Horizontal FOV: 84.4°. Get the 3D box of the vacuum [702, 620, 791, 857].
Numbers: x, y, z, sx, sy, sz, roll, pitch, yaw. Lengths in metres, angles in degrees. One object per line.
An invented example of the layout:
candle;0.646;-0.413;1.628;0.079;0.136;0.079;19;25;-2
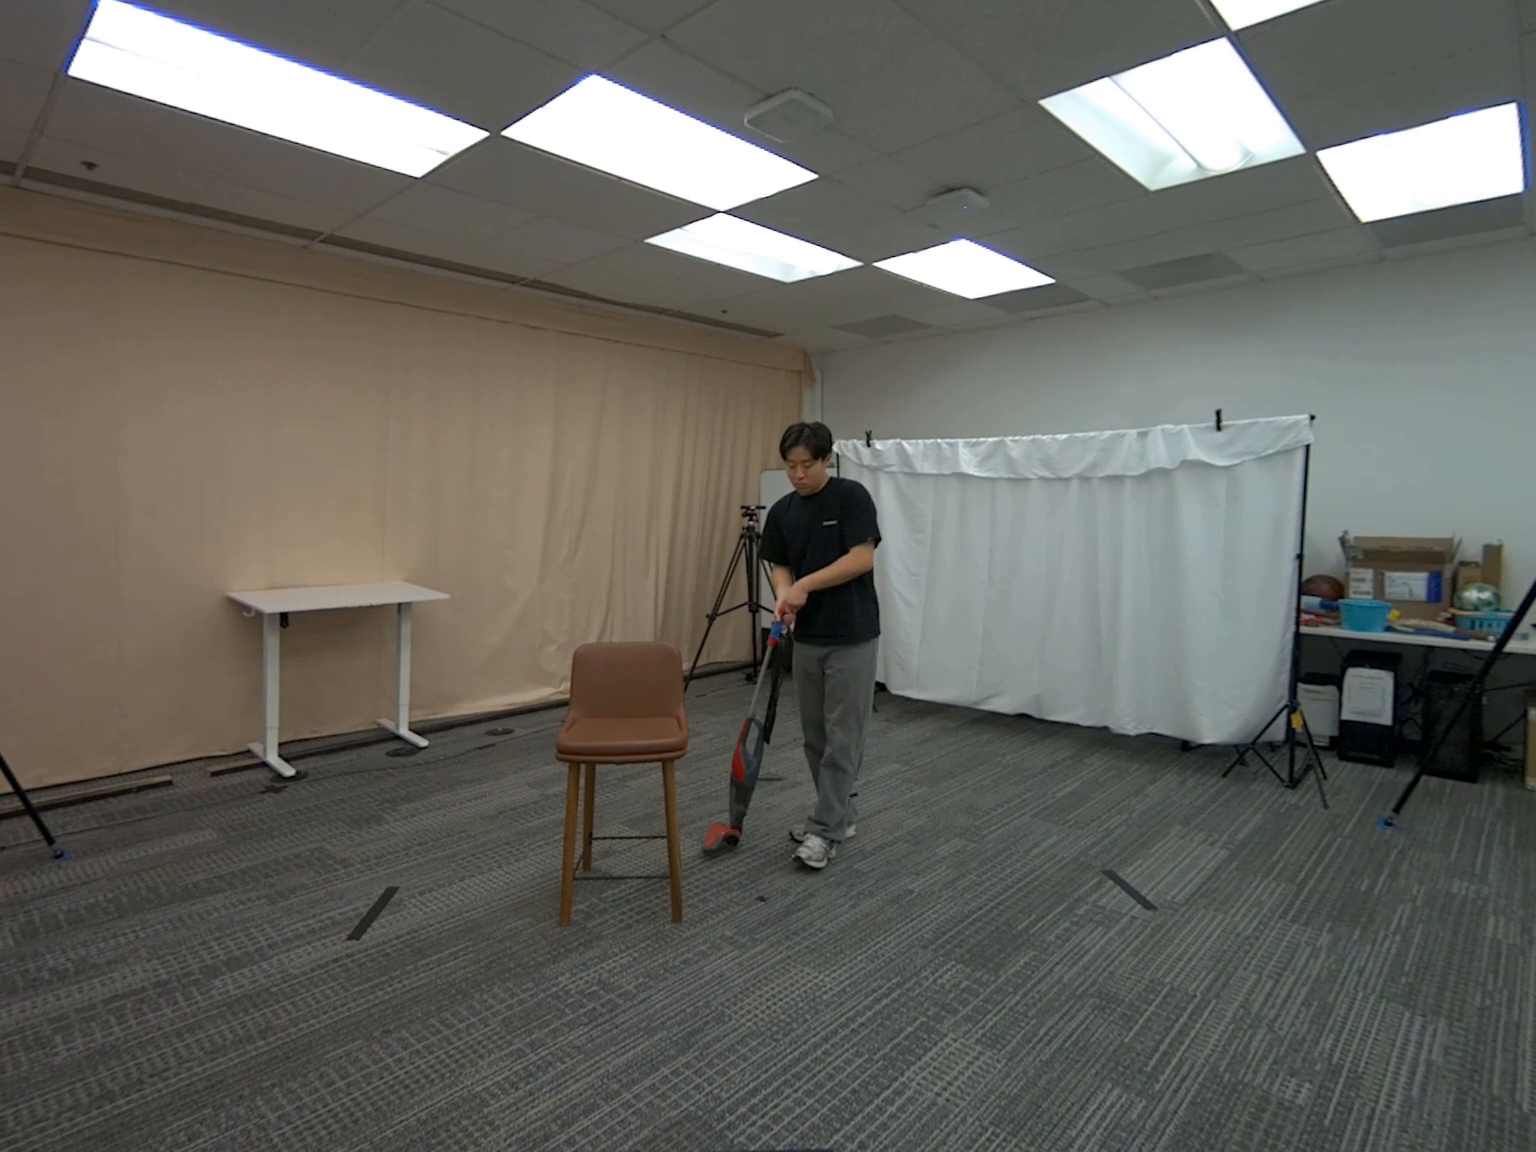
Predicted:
vacuum;-0.032;0.578;3.352;0.145;1.047;0.251;17;8;5
